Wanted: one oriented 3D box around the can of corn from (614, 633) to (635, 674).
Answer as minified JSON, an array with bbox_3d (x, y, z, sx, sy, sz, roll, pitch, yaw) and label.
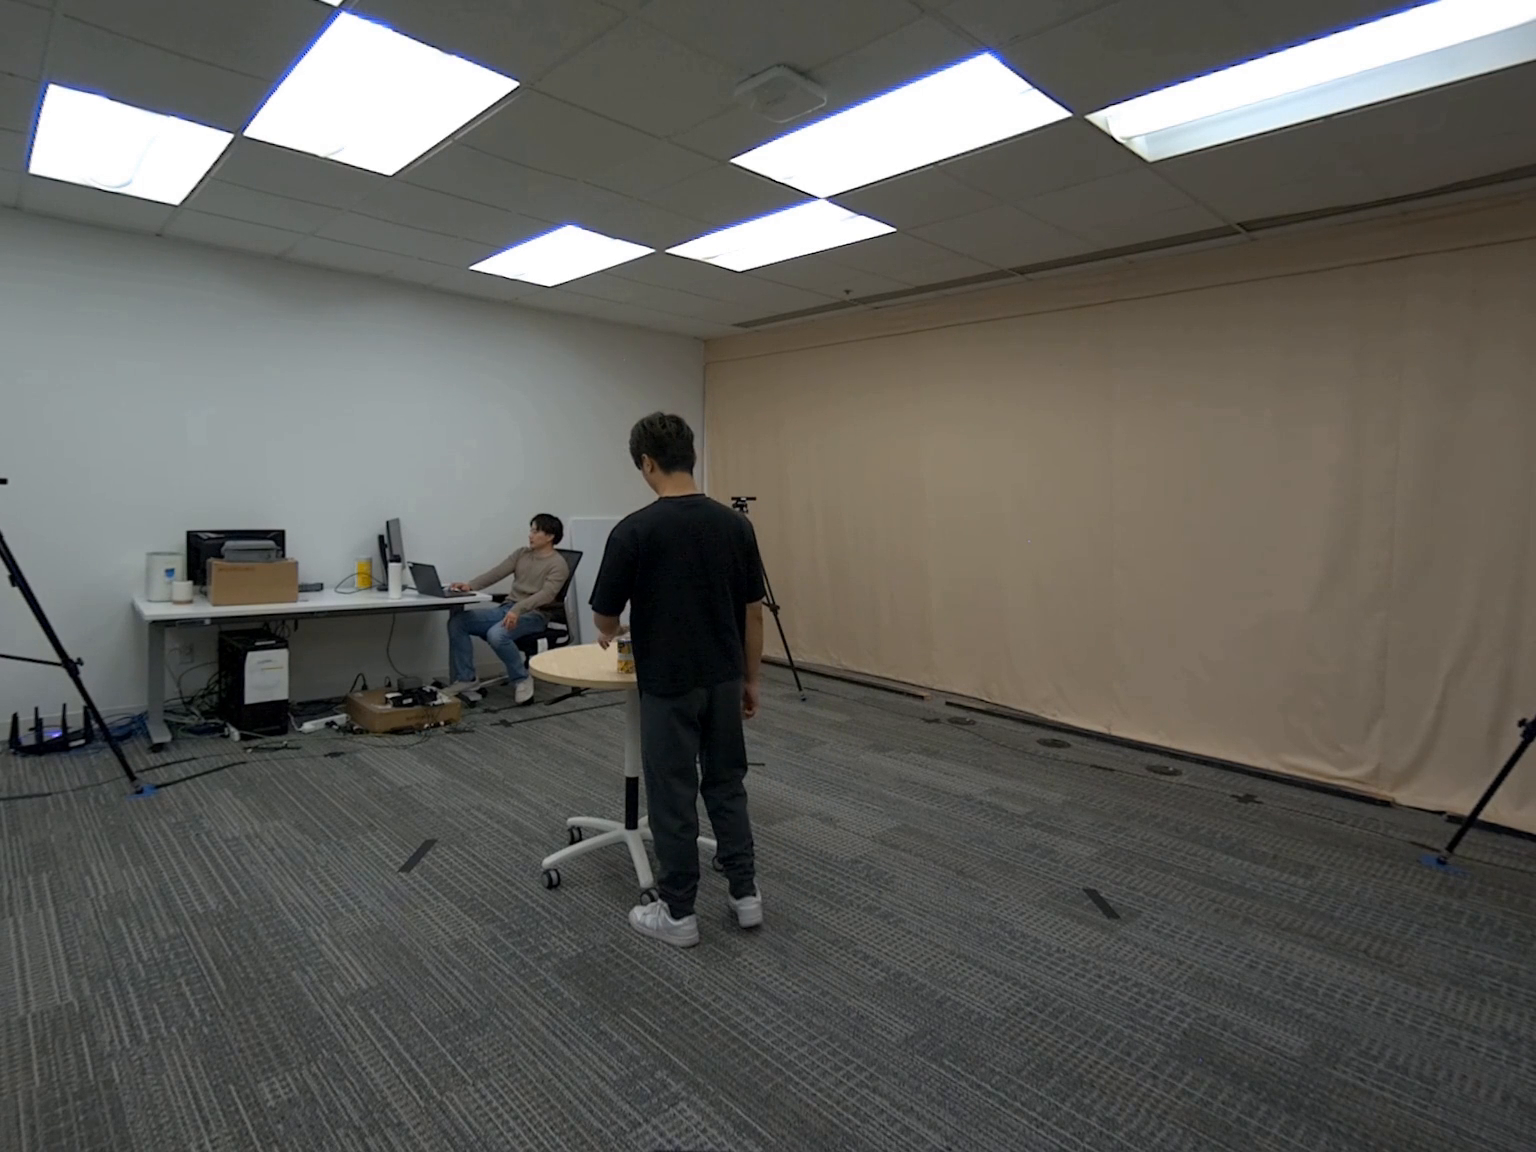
[{"bbox_3d":[-0.494,0.277,2.921,0.074,0.110,0.074,1,7,-1],"label":"can of corn"}]
